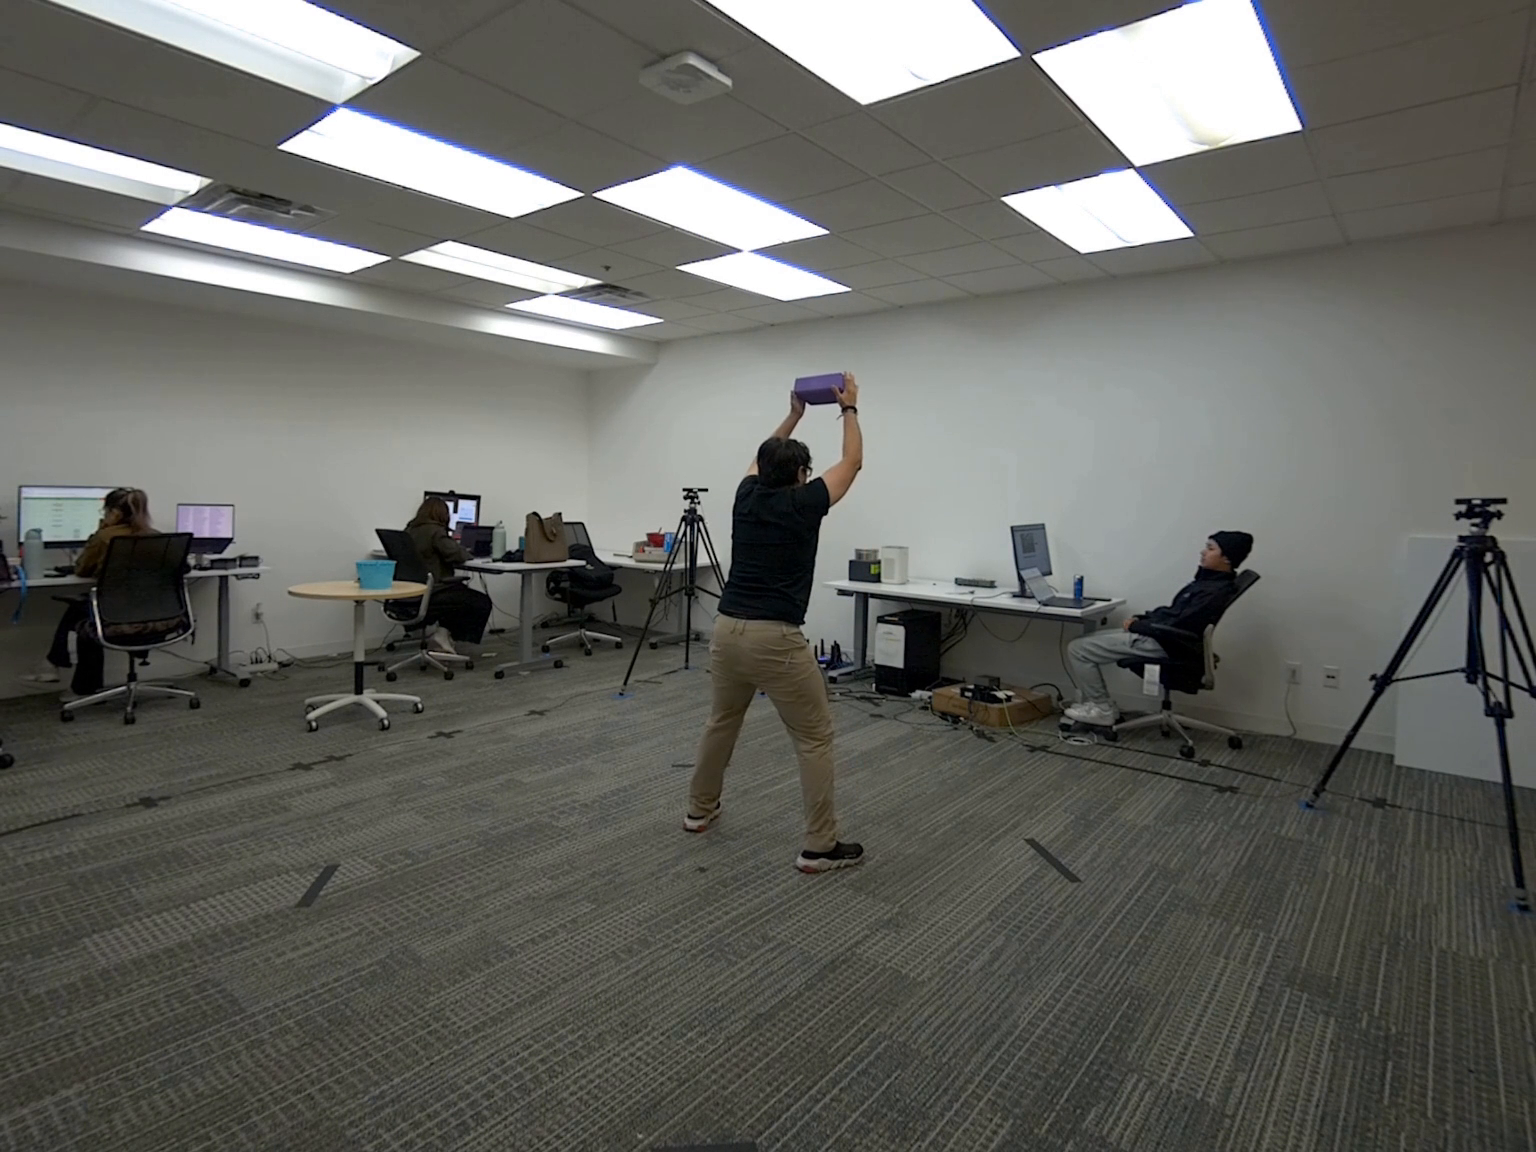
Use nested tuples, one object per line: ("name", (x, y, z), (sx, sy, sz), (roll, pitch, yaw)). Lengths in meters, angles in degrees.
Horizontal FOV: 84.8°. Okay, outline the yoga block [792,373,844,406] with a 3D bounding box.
("yoga block", (0.227, -0.784, 3.588), (0.237, 0.077, 0.143), (2, -15, 39))
